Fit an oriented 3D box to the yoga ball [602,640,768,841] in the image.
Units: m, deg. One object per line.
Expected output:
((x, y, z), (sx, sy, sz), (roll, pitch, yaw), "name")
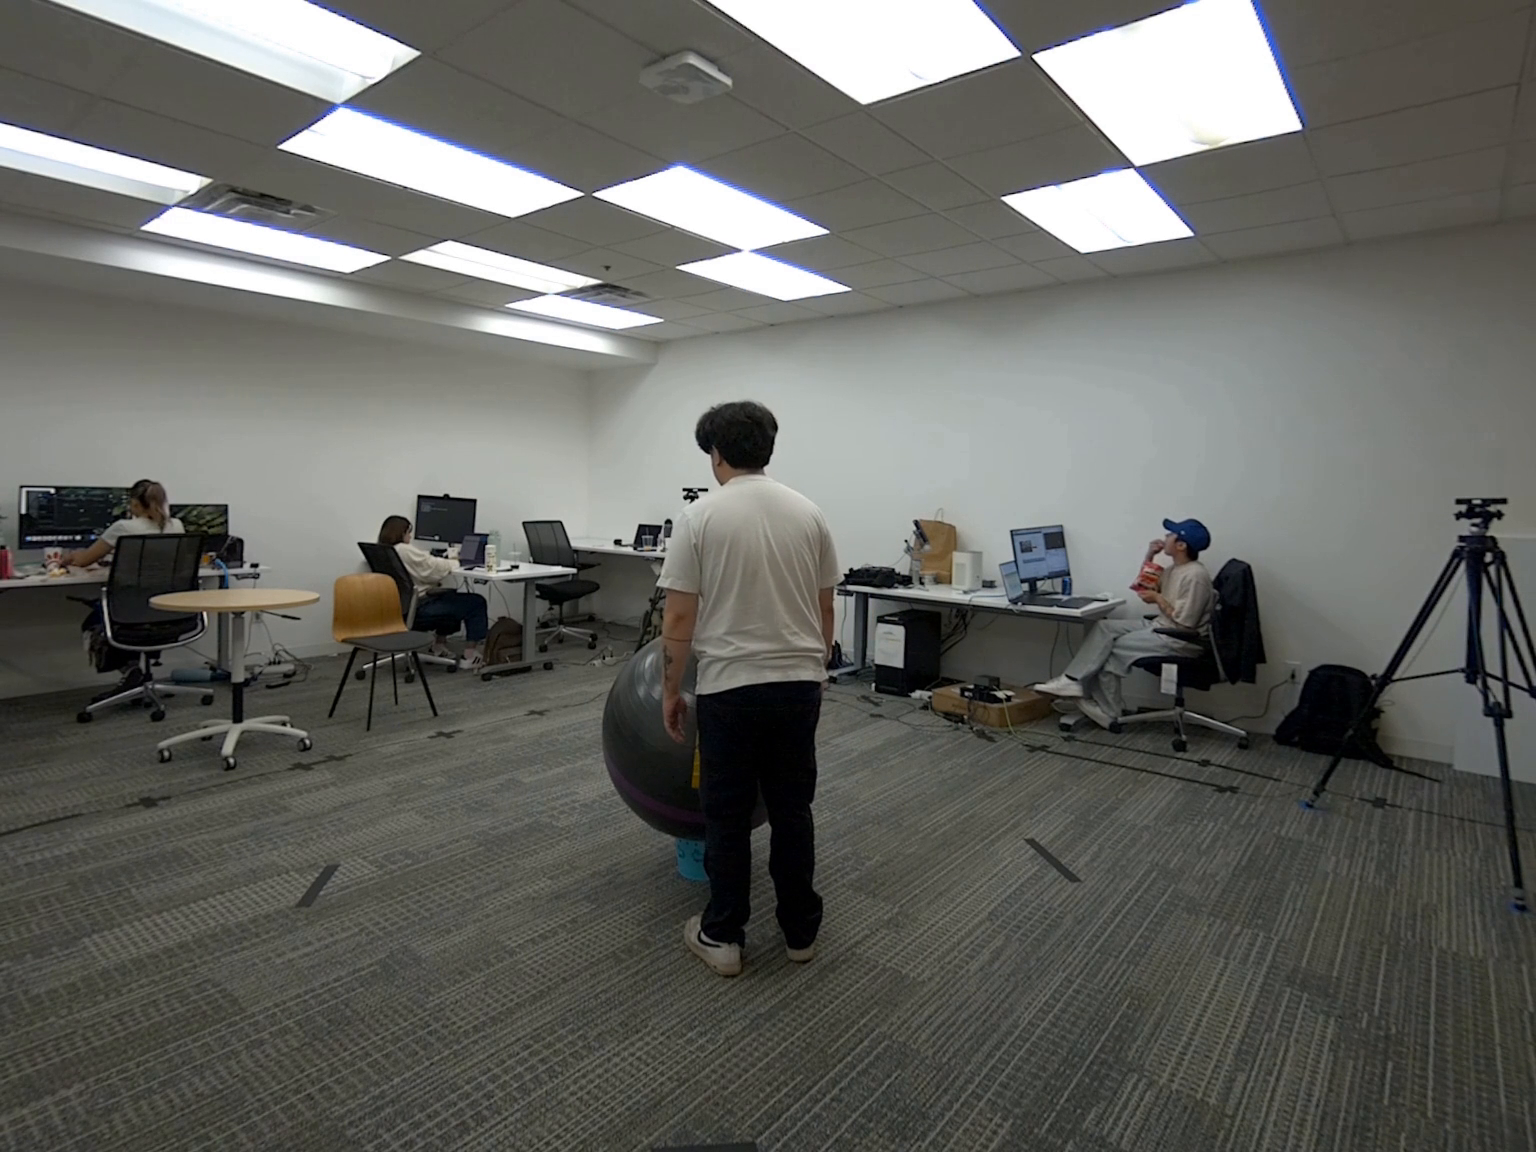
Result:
((-0.230, 0.561, 3.091), (0.757, 0.756, 0.761), (1, 4, -2), "yoga ball")
